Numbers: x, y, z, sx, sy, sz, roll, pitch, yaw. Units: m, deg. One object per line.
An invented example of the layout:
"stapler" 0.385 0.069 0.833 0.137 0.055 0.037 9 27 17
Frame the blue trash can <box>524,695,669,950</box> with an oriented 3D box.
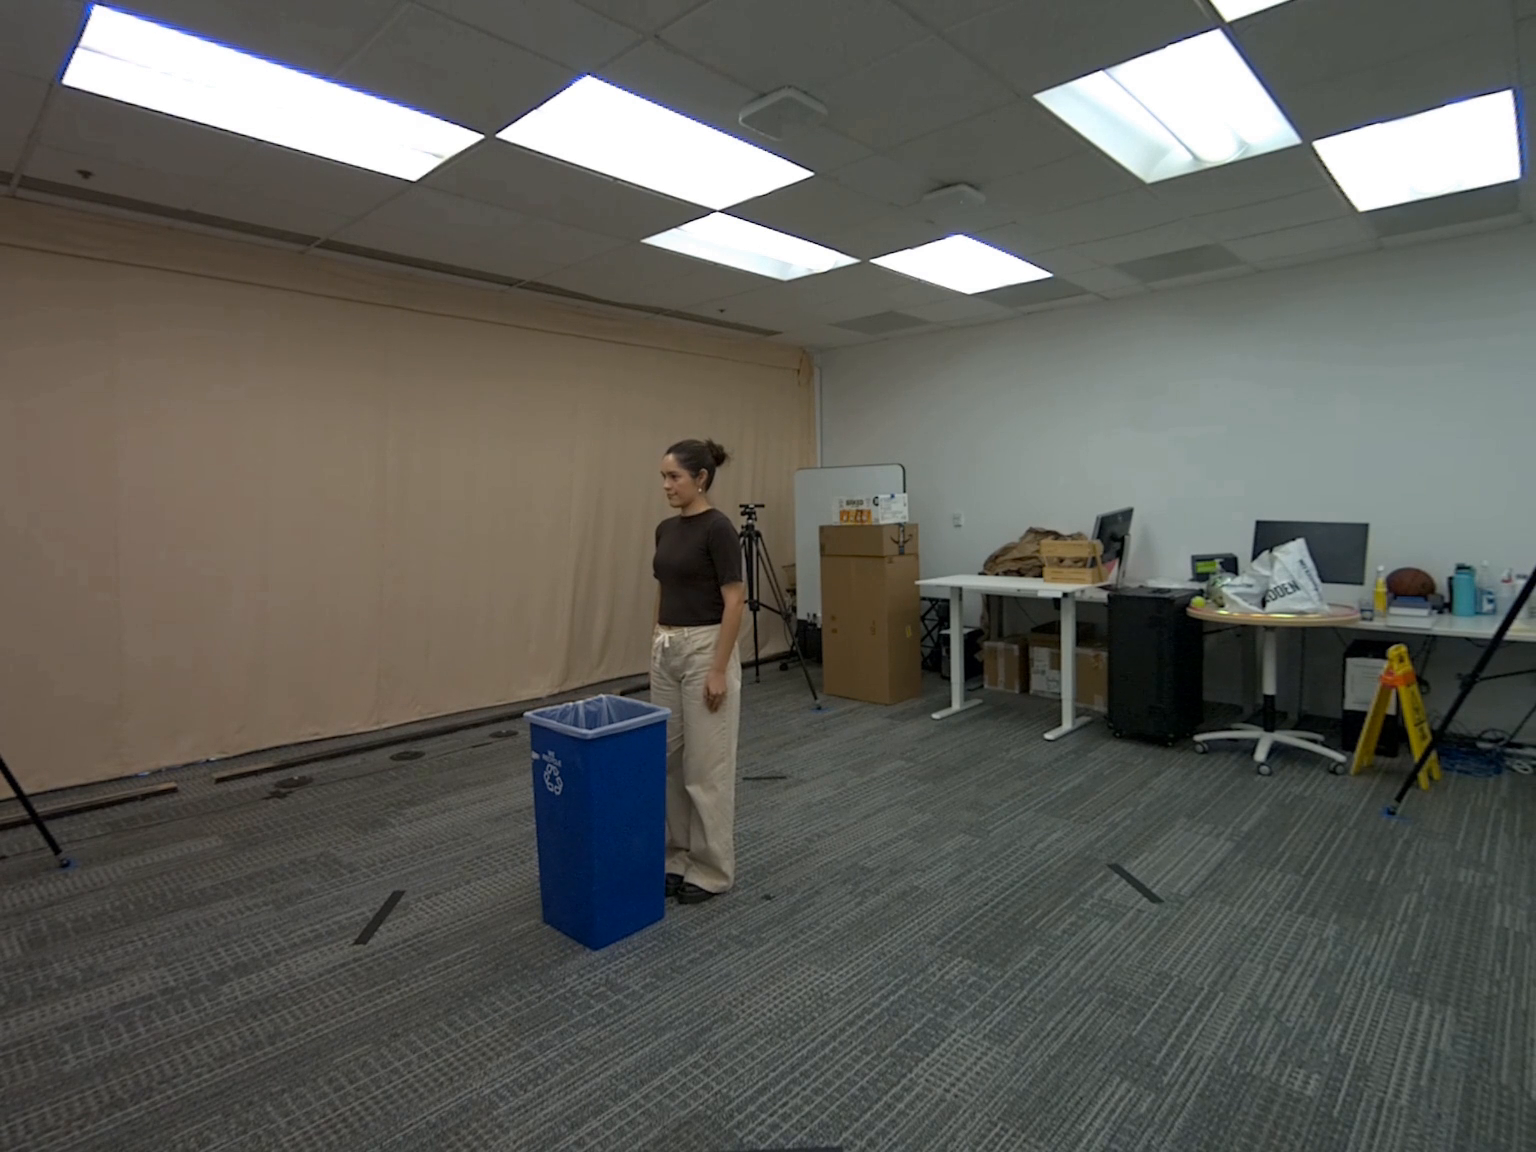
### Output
"blue trash can" -0.566 0.808 2.823 0.390 0.712 0.363 2 4 42
